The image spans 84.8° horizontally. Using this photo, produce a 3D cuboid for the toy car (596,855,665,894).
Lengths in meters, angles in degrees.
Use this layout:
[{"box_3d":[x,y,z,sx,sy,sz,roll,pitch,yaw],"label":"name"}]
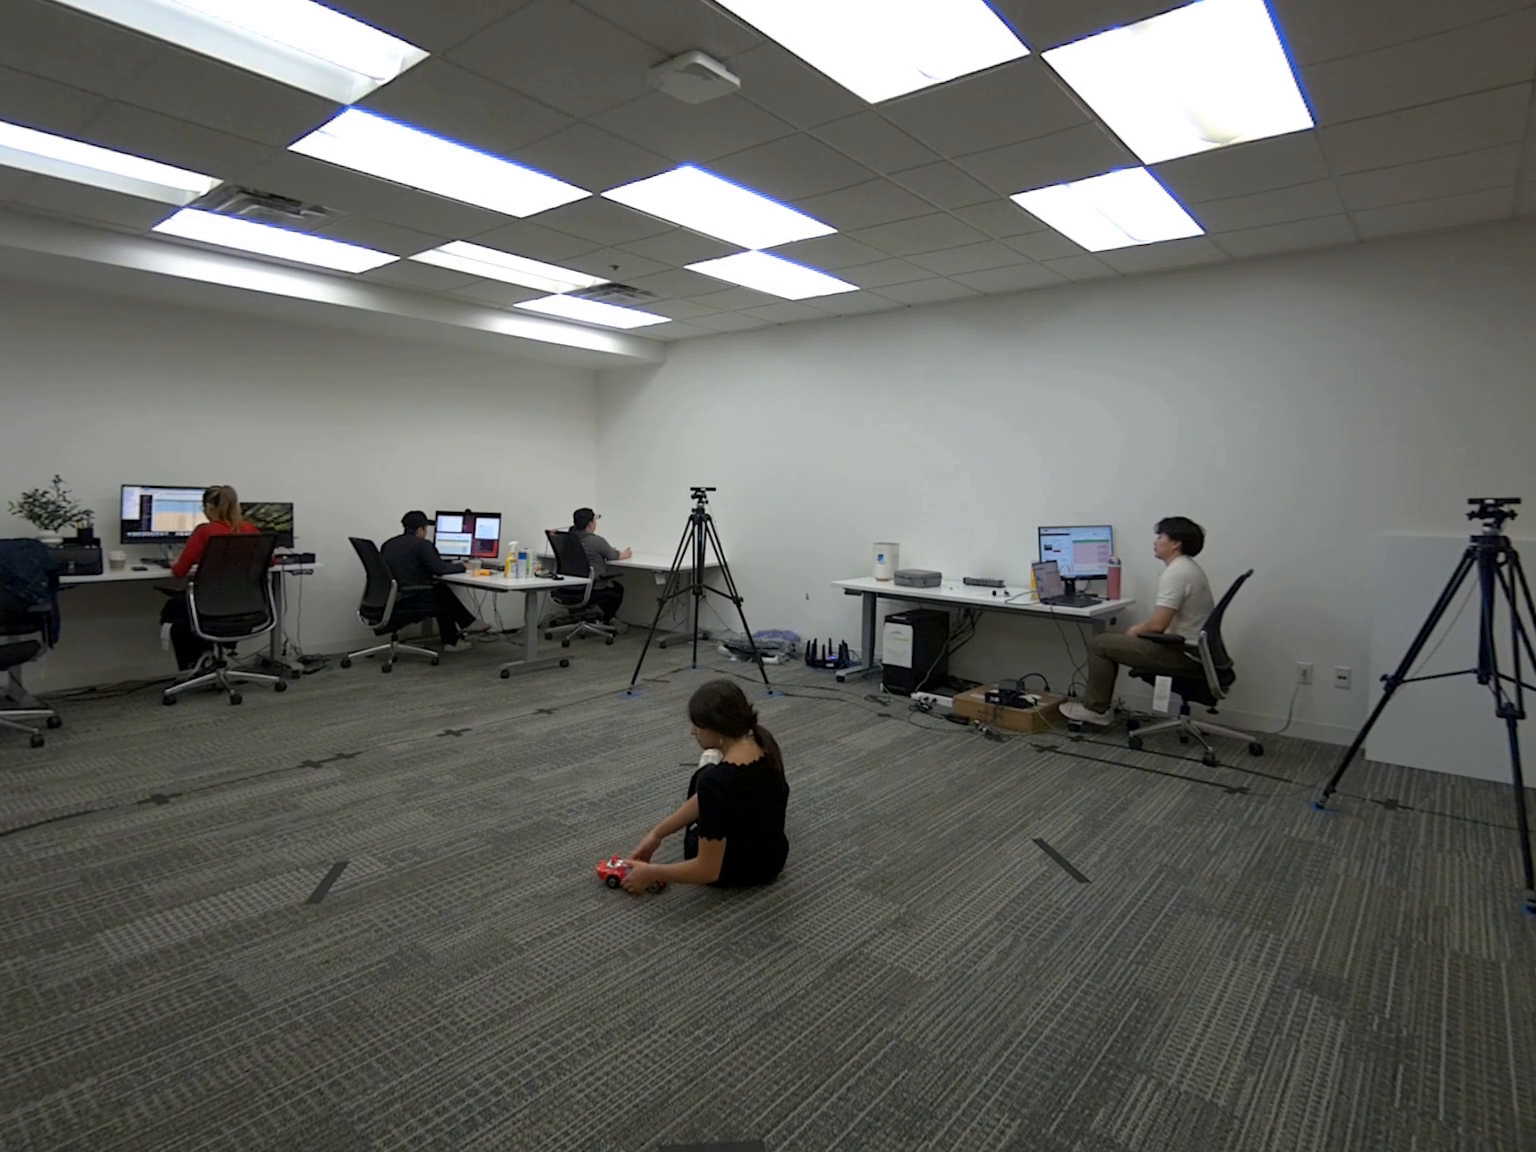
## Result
[{"box_3d":[-0.492,1.041,2.978,0.258,0.083,0.129,14,5,9],"label":"toy car"}]
